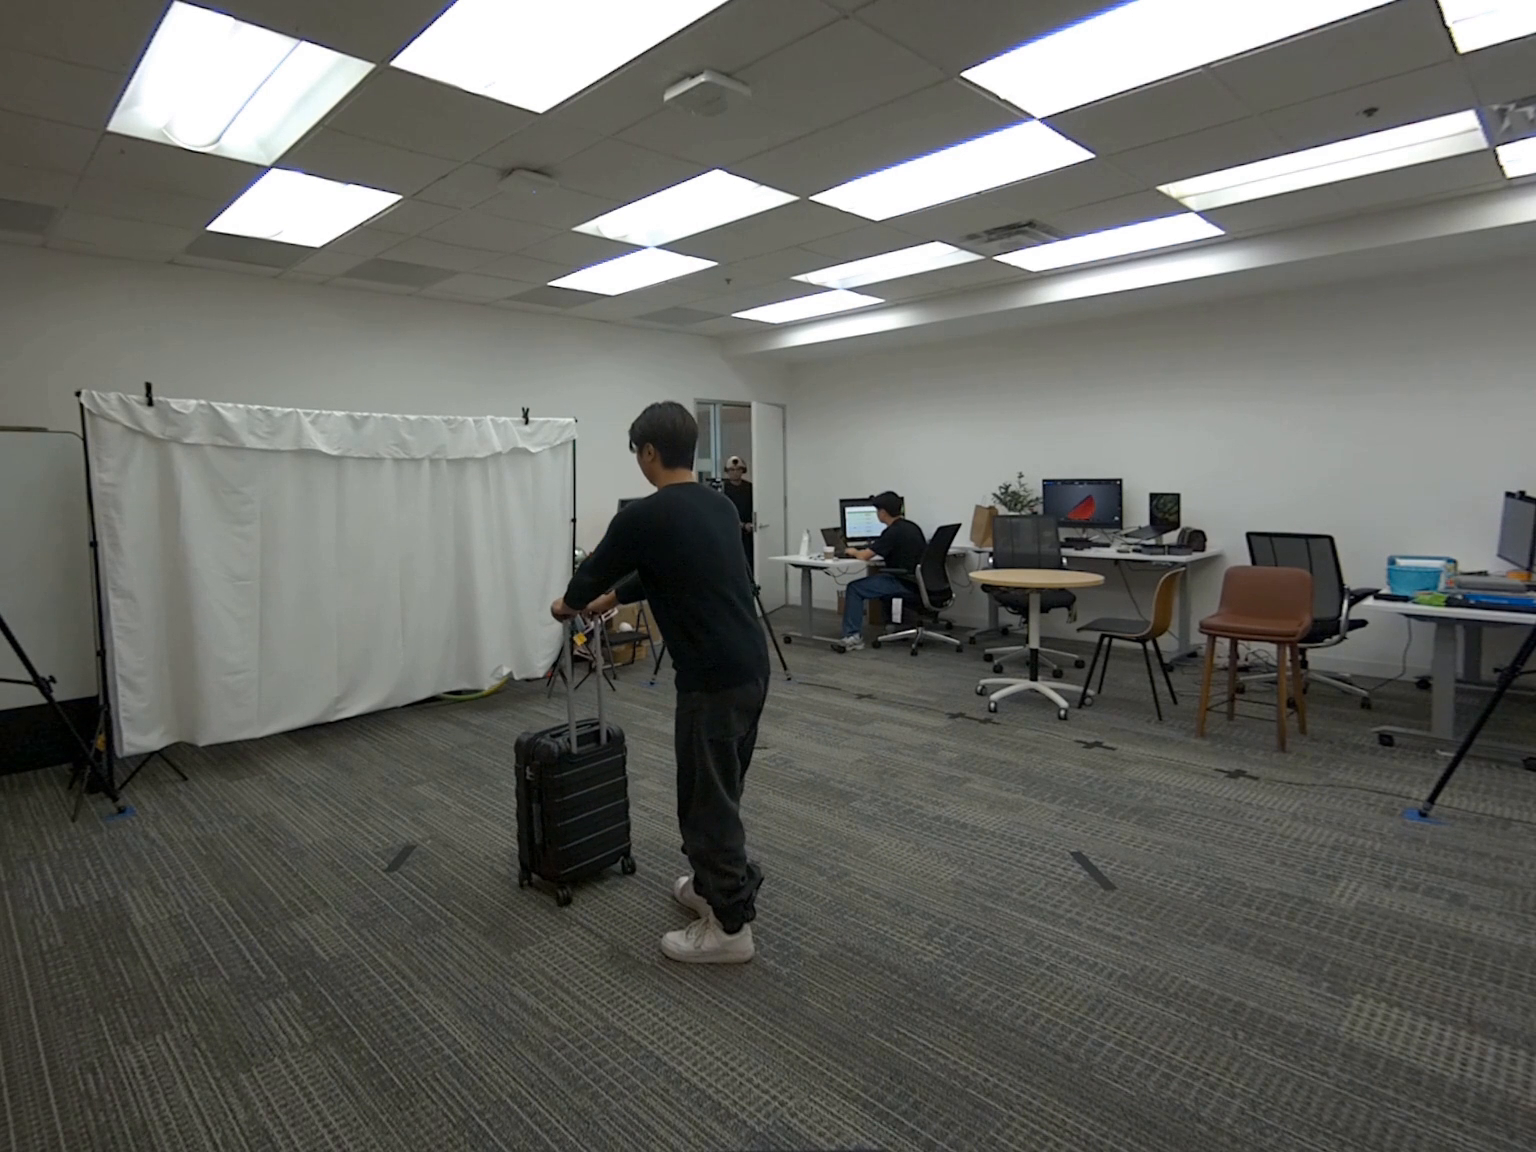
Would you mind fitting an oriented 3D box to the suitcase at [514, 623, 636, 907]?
[{"bbox_3d":[-0.696,0.589,3.010,0.264,0.977,0.374,-2,2,42],"label":"suitcase"}]
